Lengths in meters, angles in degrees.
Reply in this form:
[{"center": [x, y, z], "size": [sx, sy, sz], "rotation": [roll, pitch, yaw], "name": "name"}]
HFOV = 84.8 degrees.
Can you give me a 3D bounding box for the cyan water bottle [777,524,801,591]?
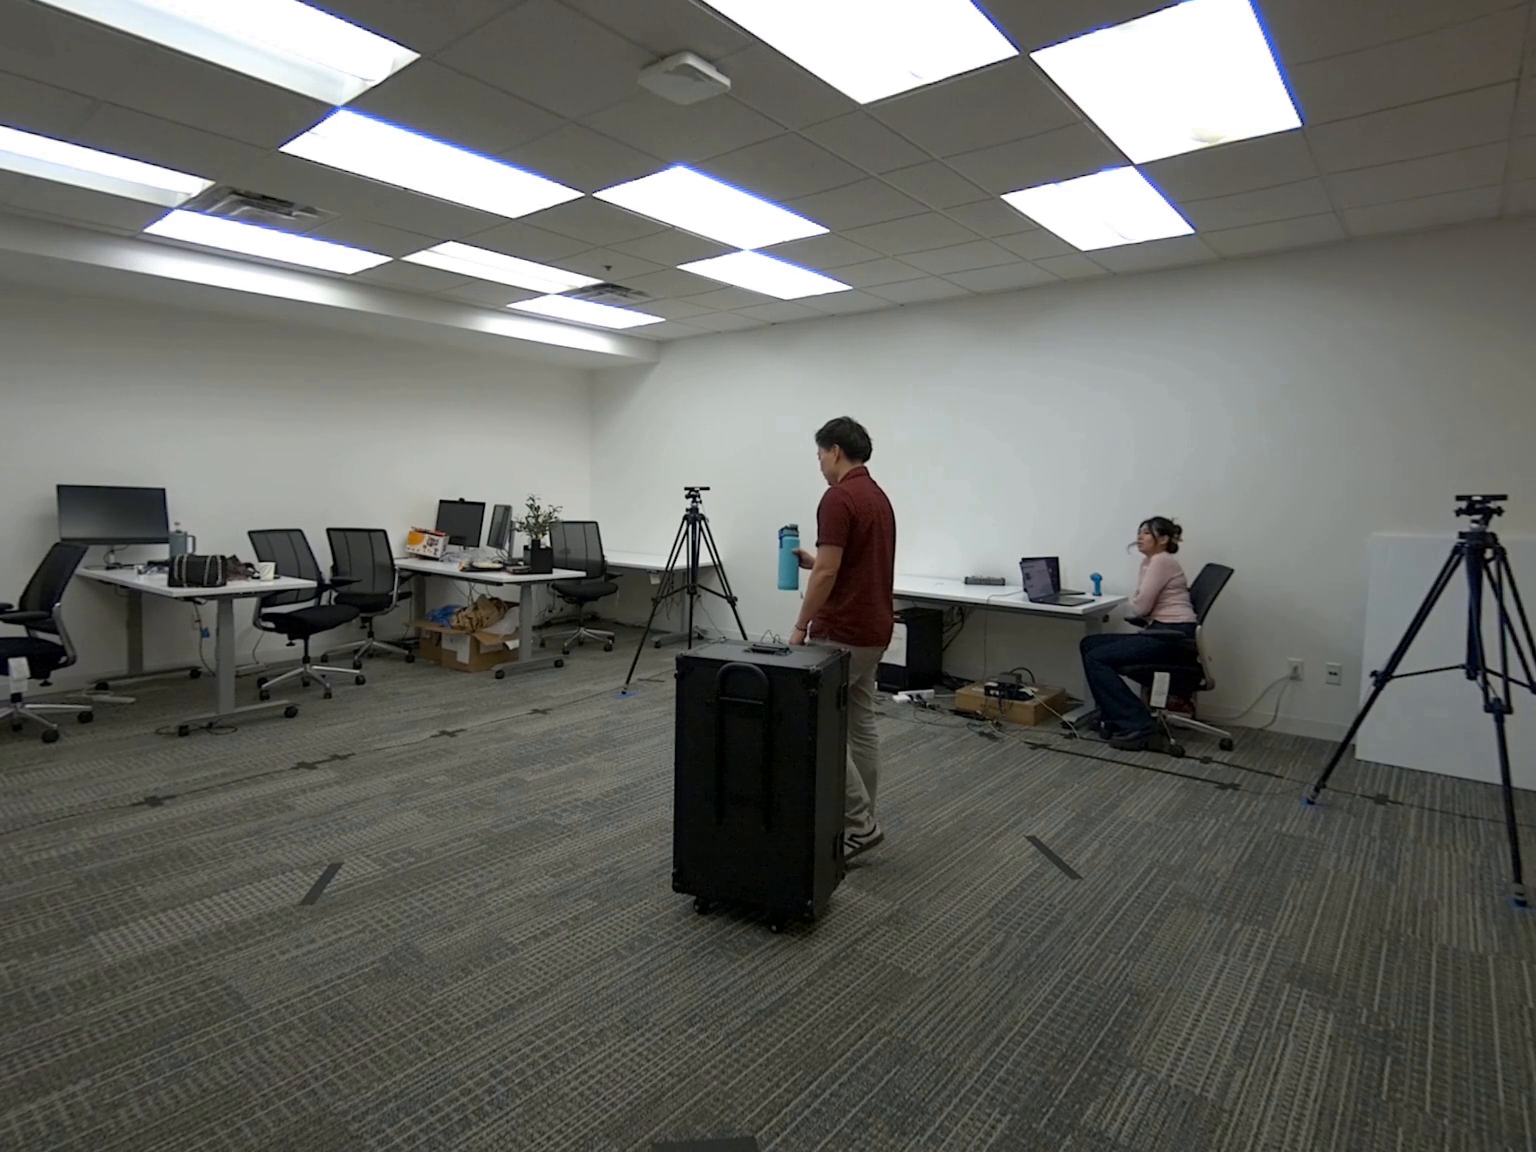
[{"center": [0.083, -0.087, 3.658], "size": [0.092, 0.285, 0.092], "rotation": [0, -4, -2], "name": "cyan water bottle"}]
